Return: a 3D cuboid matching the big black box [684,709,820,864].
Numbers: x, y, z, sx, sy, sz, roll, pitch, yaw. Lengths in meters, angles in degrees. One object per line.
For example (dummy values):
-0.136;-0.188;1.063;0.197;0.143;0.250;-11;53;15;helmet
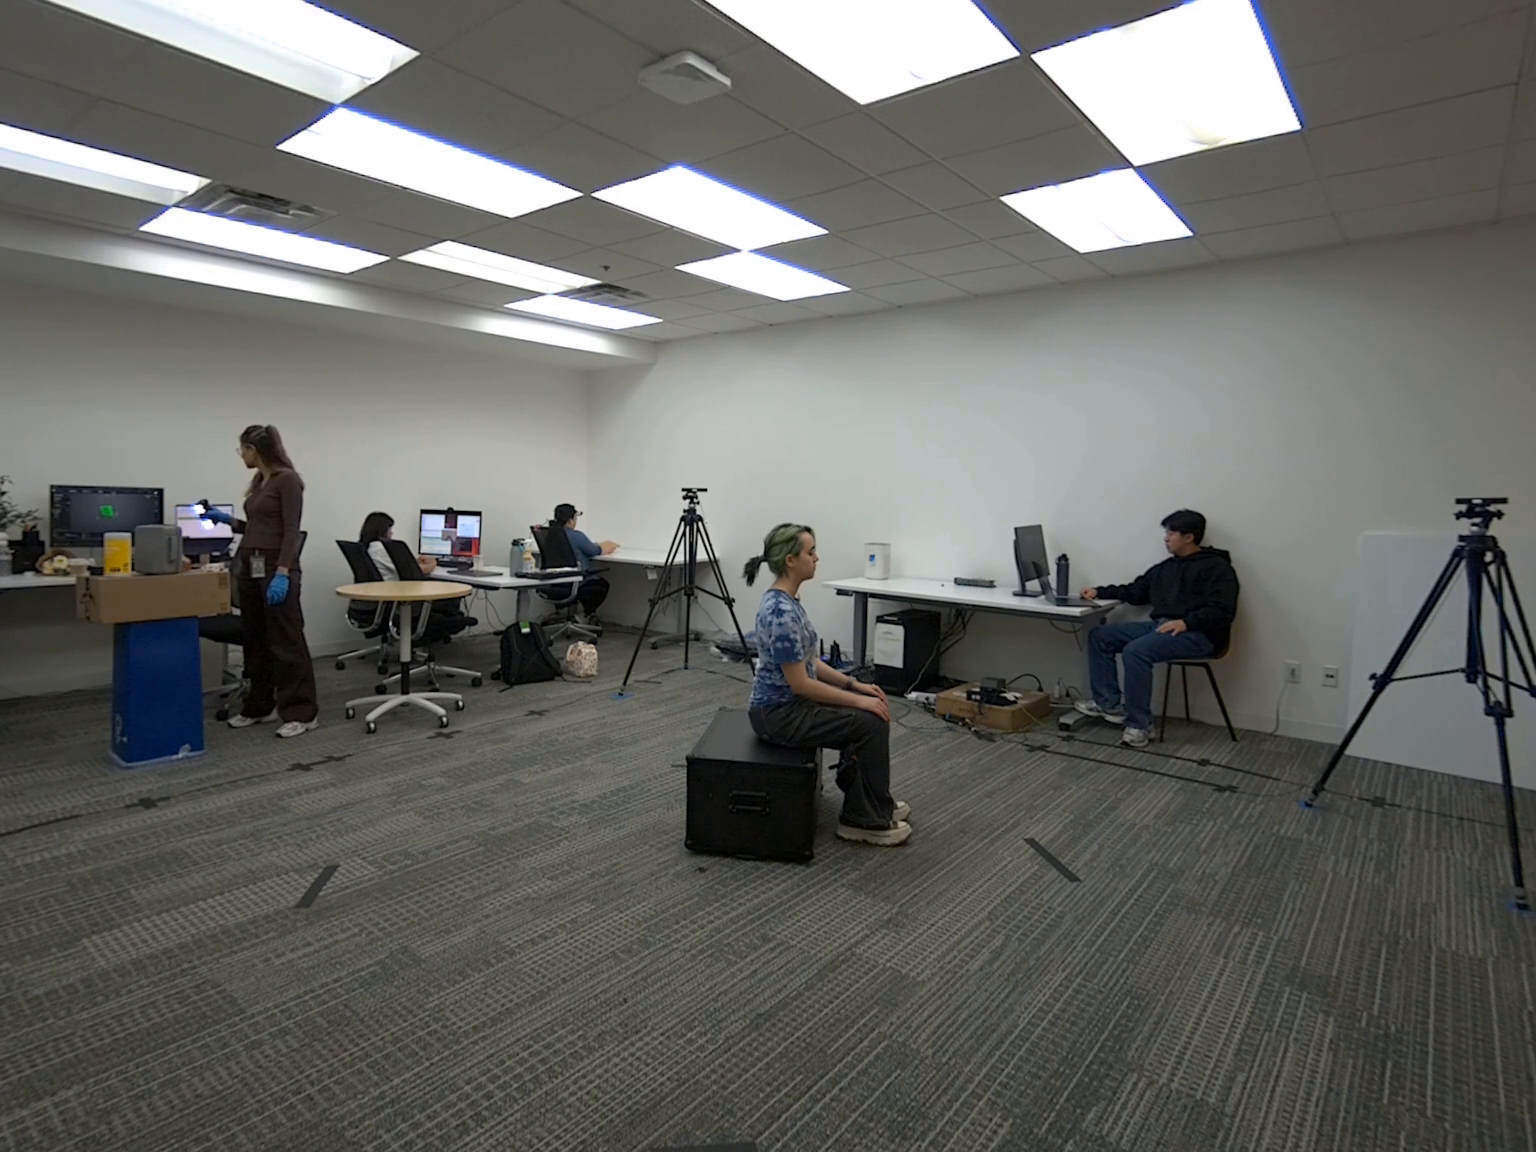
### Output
-0.037;0.835;3.587;0.526;0.395;0.857;1;5;6;big black box
